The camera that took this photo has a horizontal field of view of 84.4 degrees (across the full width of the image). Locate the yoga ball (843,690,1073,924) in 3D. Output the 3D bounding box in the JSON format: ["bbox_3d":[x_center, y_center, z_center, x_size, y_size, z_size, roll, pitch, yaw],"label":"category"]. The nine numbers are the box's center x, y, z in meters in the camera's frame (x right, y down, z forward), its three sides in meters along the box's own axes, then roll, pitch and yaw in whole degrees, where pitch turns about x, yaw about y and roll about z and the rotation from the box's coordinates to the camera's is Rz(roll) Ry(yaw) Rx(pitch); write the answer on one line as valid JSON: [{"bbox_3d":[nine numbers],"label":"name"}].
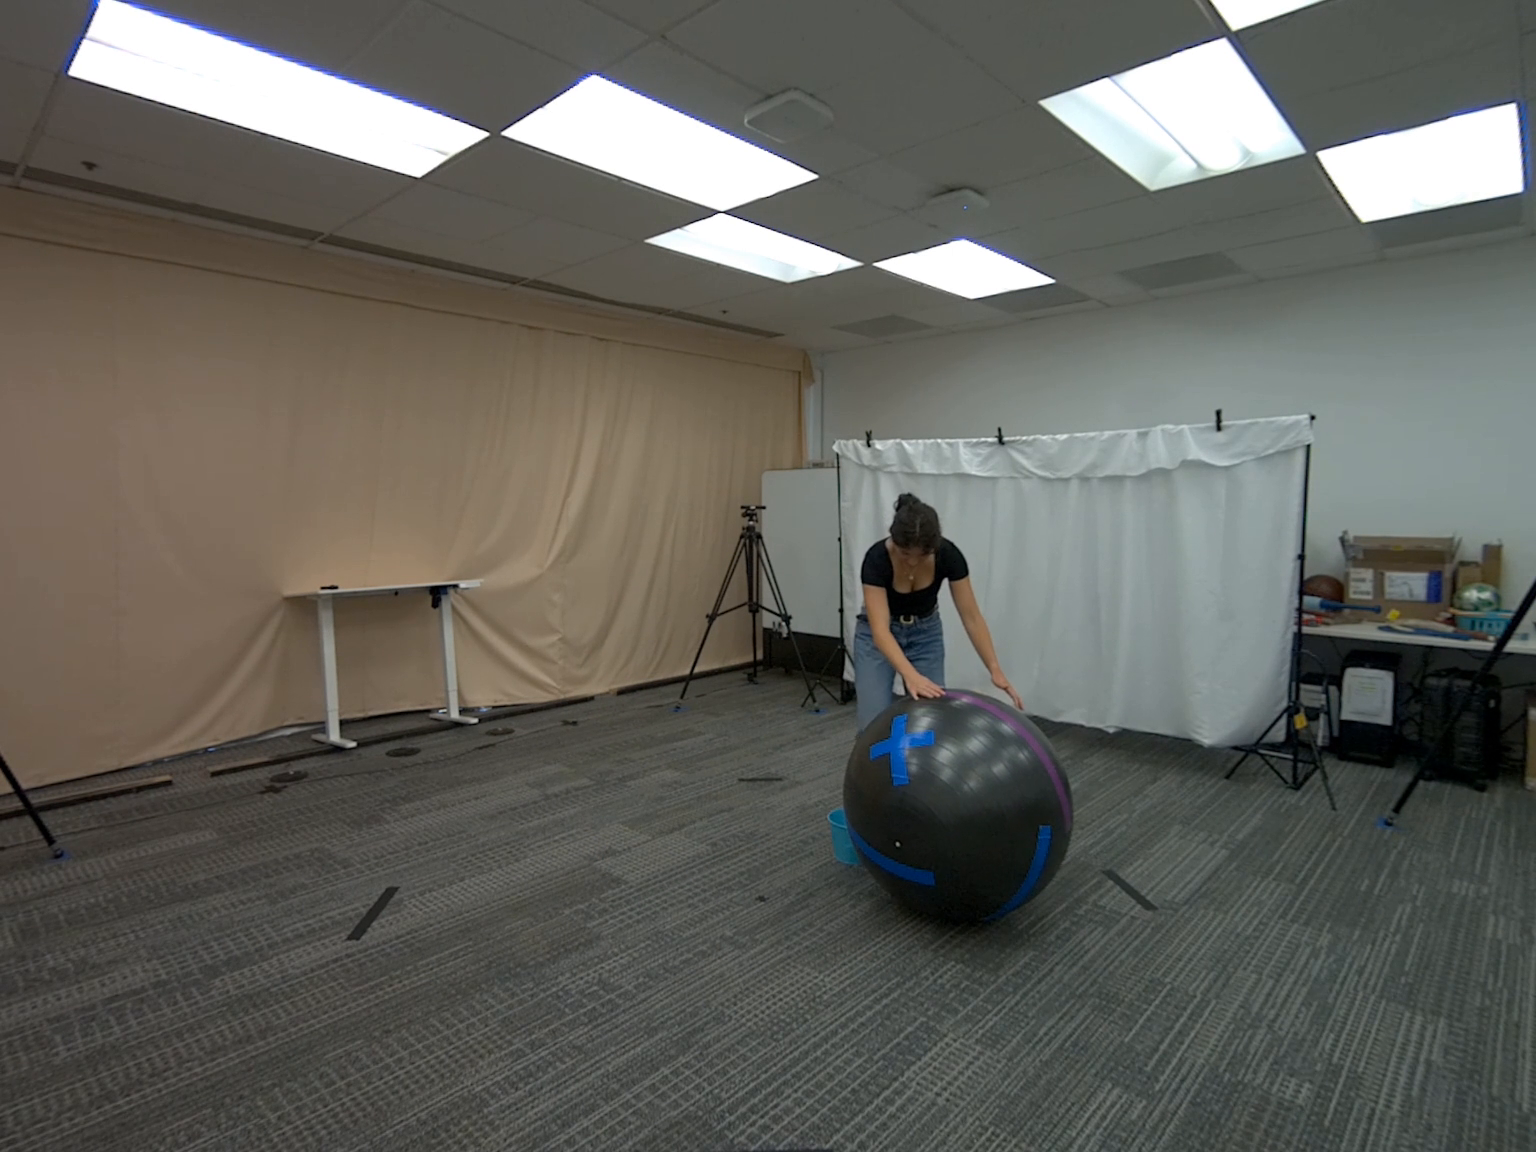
[{"bbox_3d":[0.637,0.775,2.890,0.757,0.756,0.760,0,4,-2],"label":"yoga ball"}]
